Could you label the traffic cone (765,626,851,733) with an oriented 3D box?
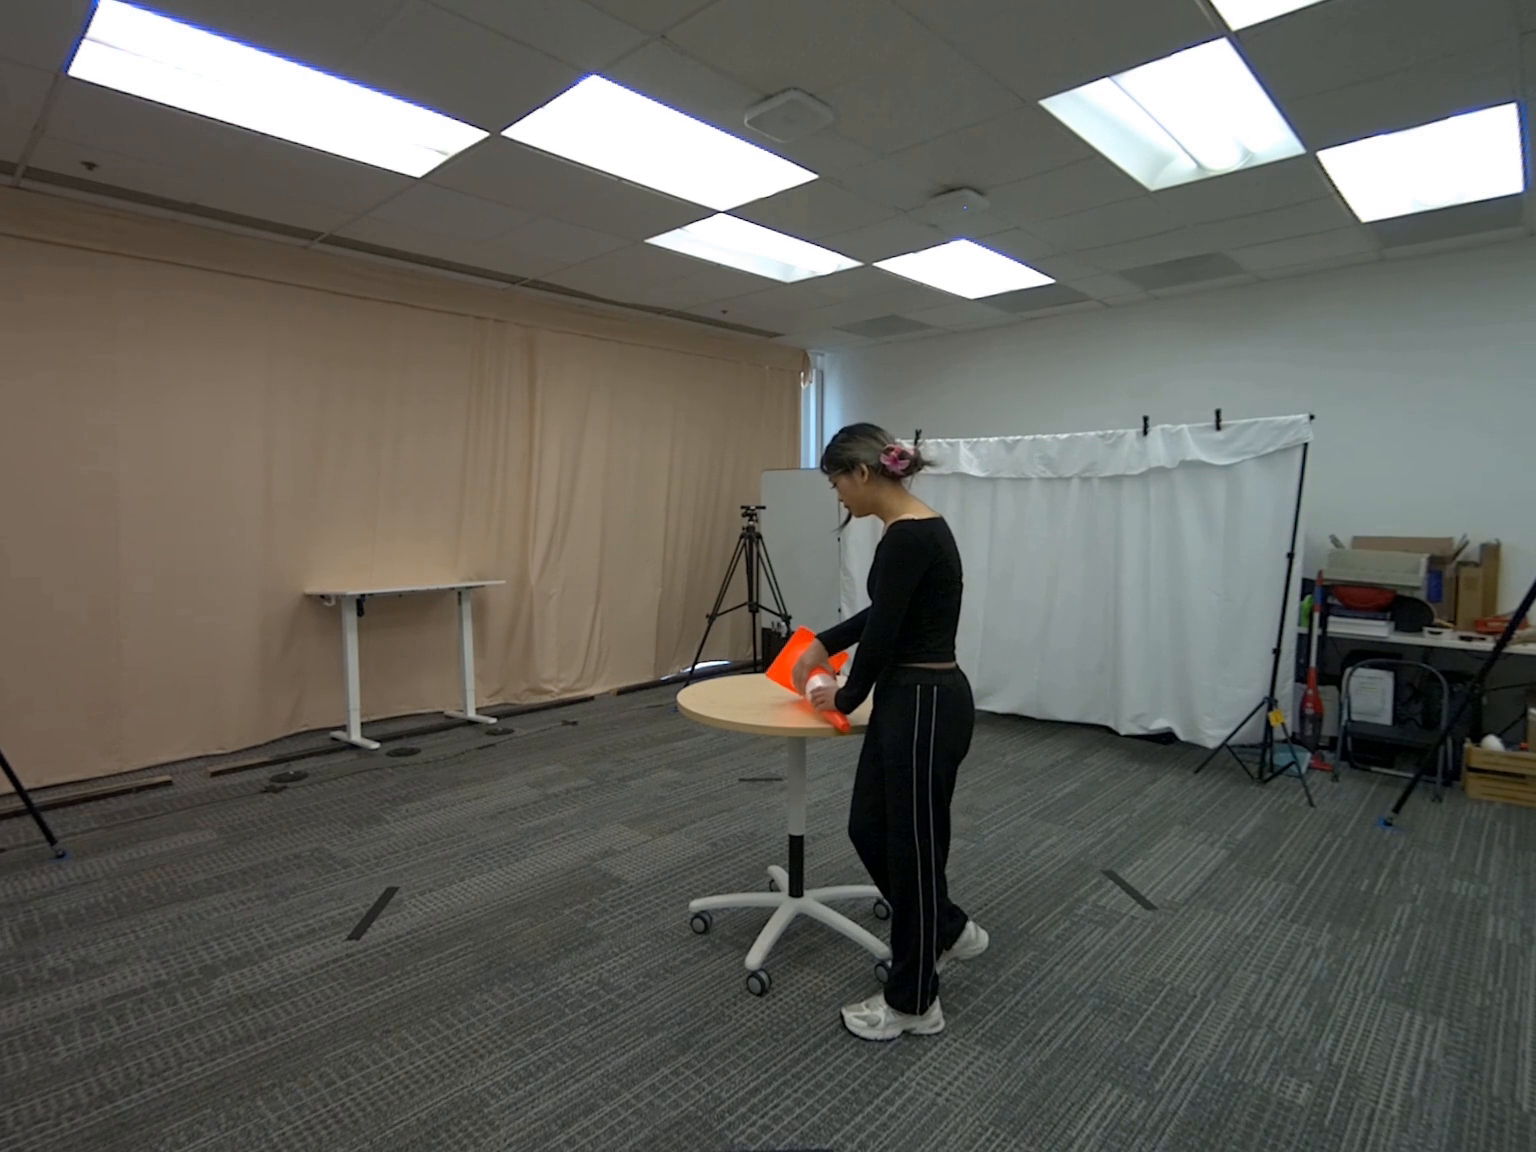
[{"bbox_3d":[0.170,0.334,2.430,0.199,0.205,0.392,23,11,-19],"label":"traffic cone"}]
